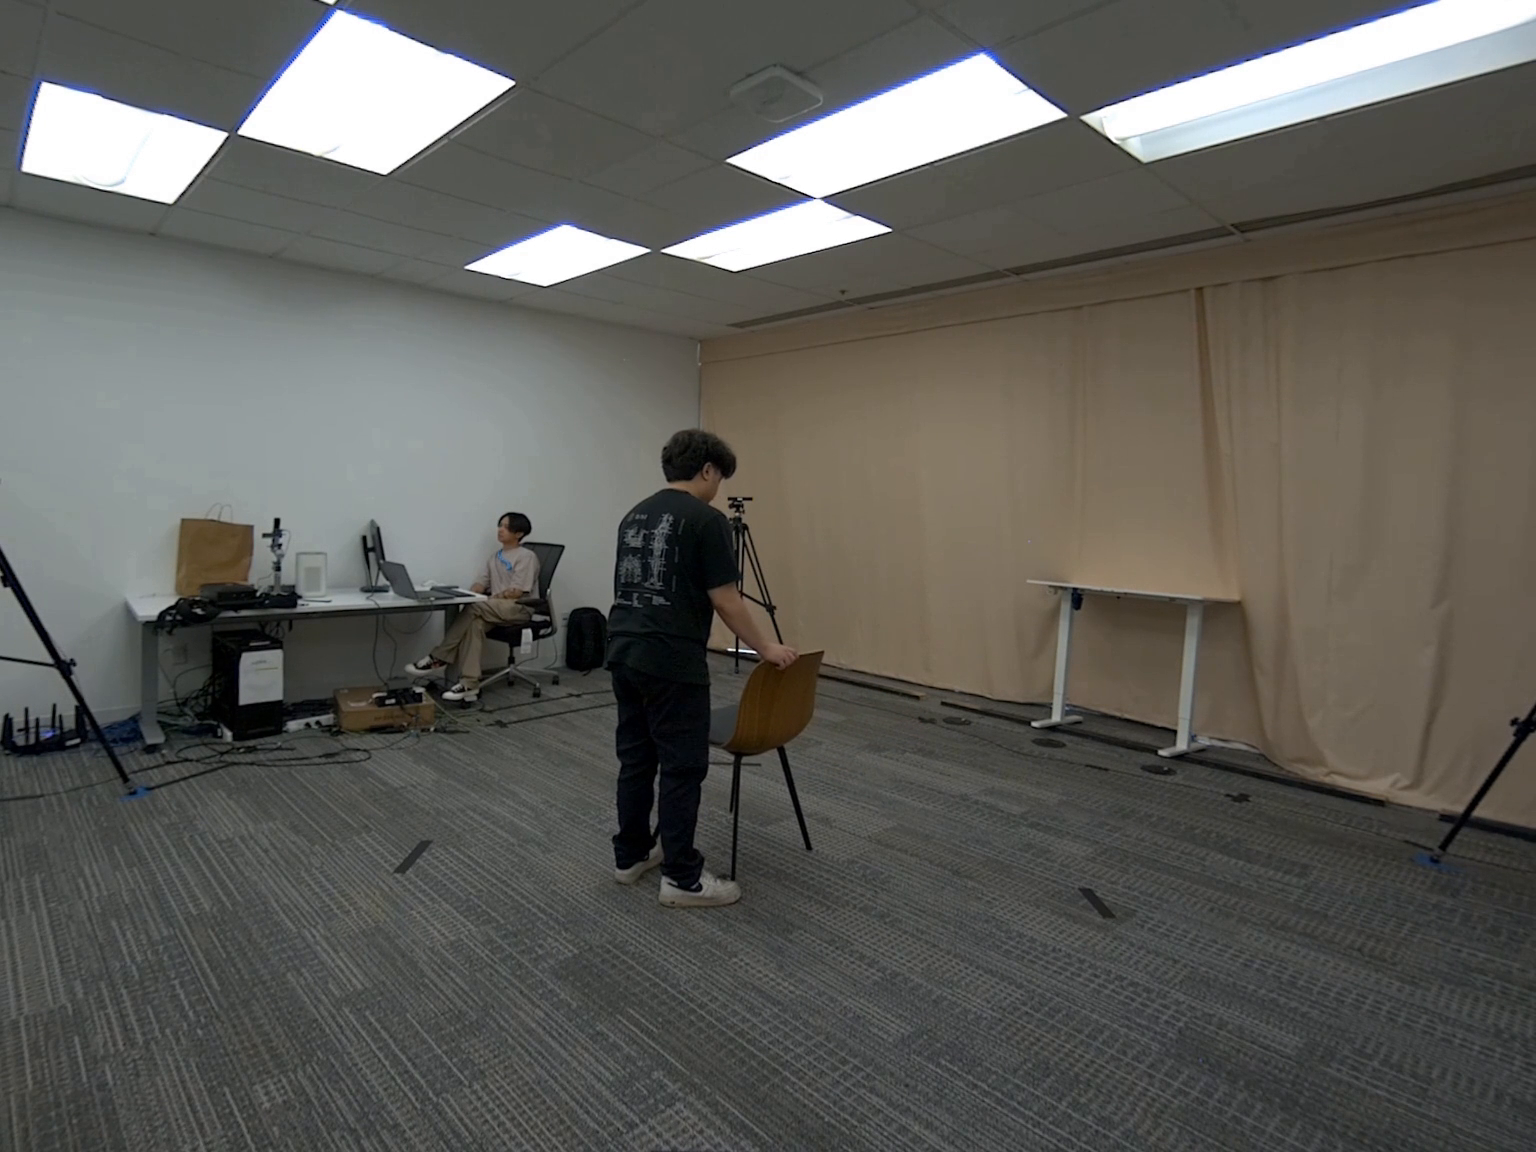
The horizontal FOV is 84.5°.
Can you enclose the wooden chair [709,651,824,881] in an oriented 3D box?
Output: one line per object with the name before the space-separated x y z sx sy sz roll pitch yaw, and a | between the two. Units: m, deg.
wooden chair | -0.119 0.647 3.310 0.538 0.872 0.467 16 13 42
